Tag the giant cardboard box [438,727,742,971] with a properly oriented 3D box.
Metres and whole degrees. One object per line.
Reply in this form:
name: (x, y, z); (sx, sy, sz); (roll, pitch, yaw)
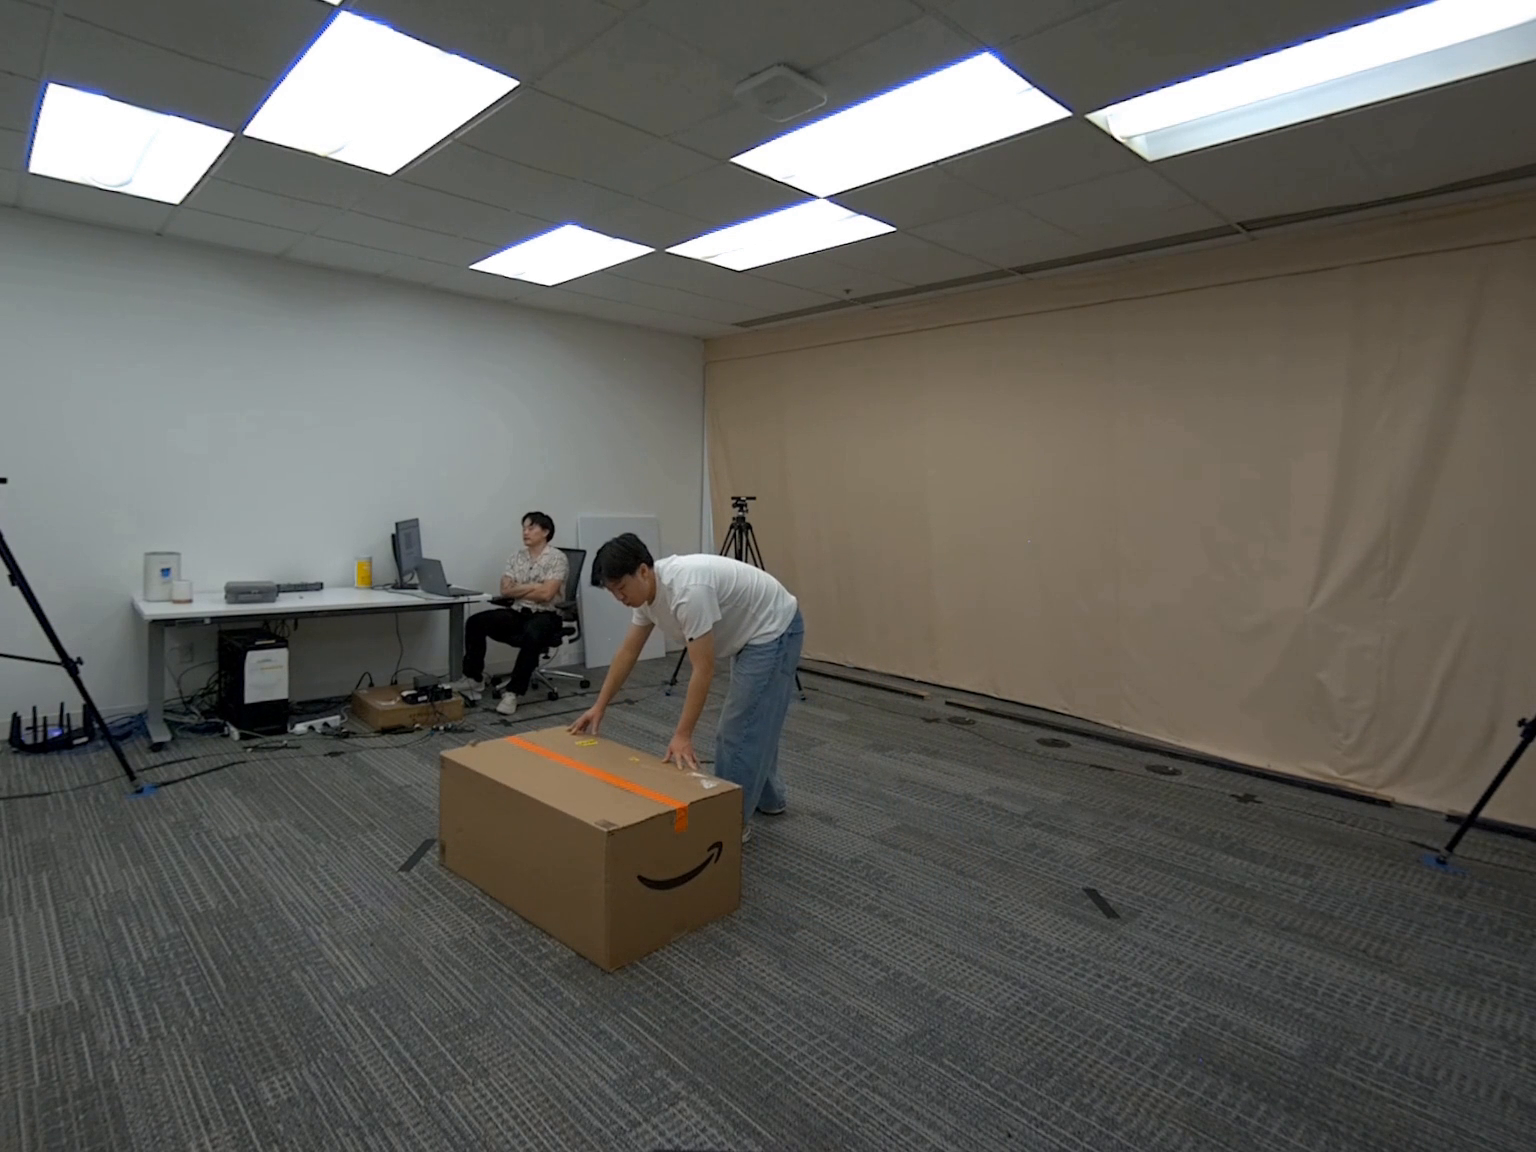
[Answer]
giant cardboard box: (-0.663, 0.892, 2.988); (1.052, 0.425, 0.564); (6, 5, 43)
